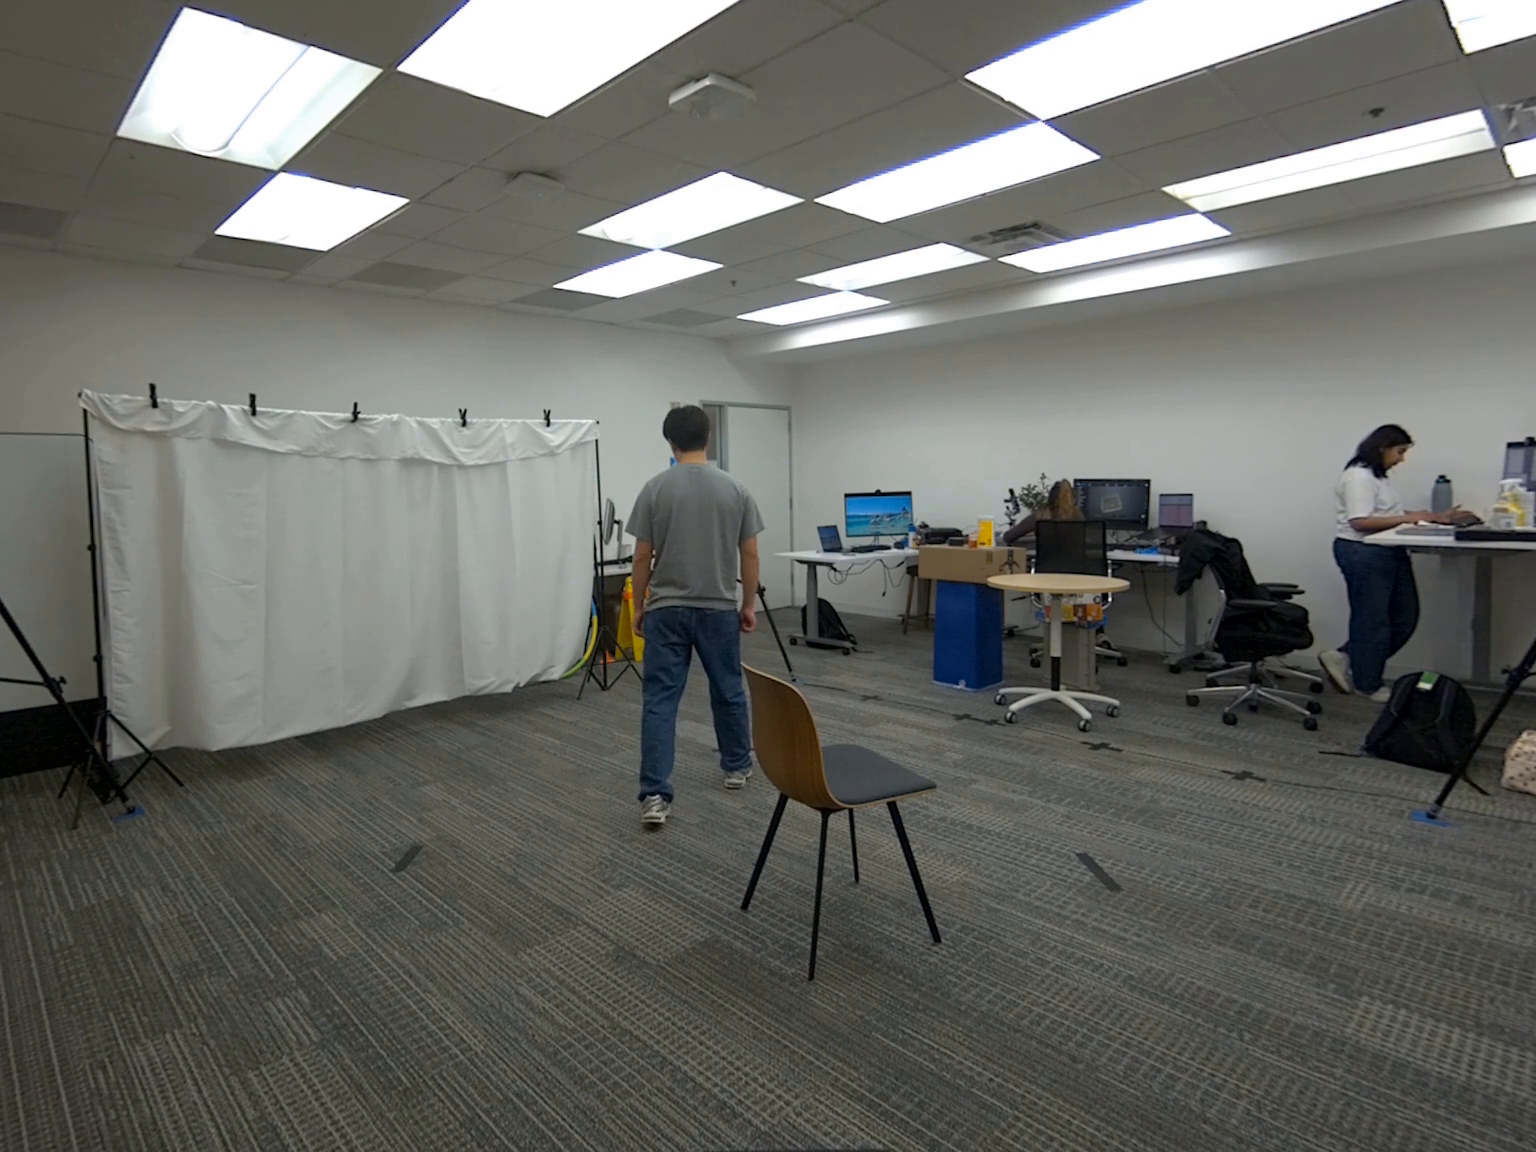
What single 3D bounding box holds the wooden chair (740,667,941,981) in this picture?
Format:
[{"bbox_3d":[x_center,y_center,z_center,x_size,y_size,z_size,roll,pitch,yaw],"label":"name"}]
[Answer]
[{"bbox_3d":[0.217,0.668,2.641,0.513,0.872,0.490,-8,7,-25],"label":"wooden chair"}]
